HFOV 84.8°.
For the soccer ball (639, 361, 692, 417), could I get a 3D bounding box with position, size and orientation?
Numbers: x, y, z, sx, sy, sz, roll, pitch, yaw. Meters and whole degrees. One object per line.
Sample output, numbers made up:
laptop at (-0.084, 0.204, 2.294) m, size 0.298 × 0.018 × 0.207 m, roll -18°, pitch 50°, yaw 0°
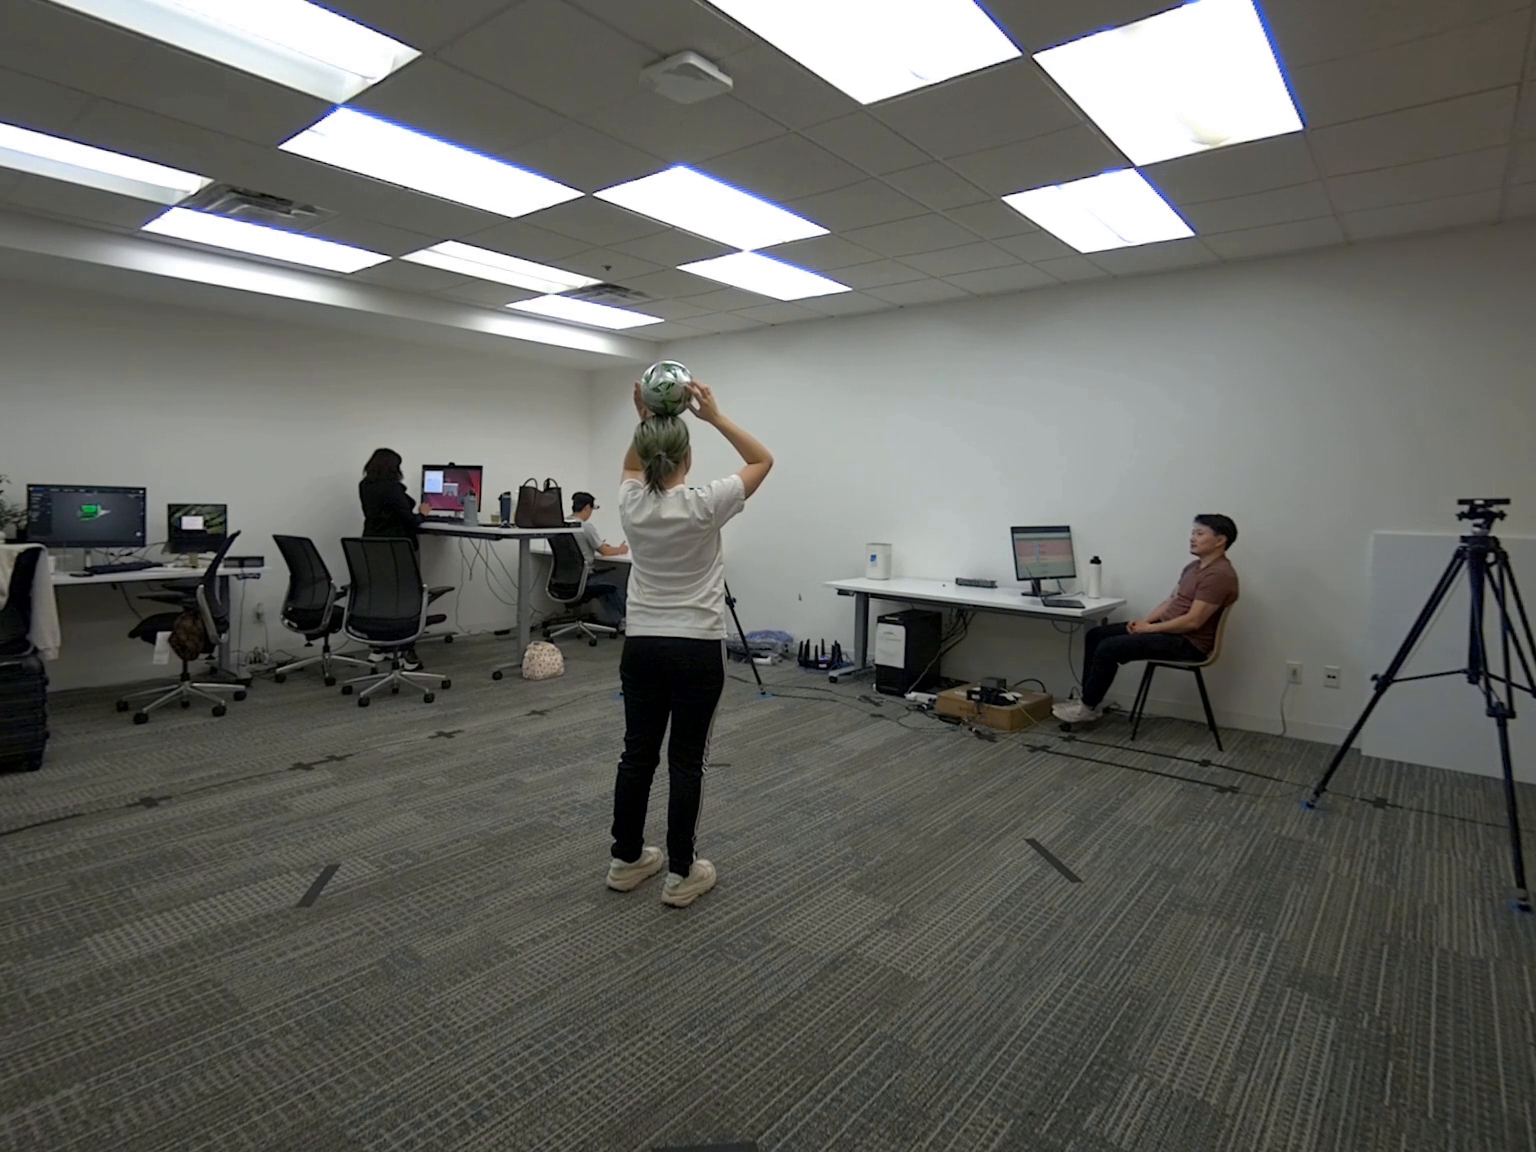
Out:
soccer ball at (-0.355, -0.635, 2.888) m, size 0.187 × 0.187 × 0.188 m, roll 1°, pitch 4°, yaw -2°
